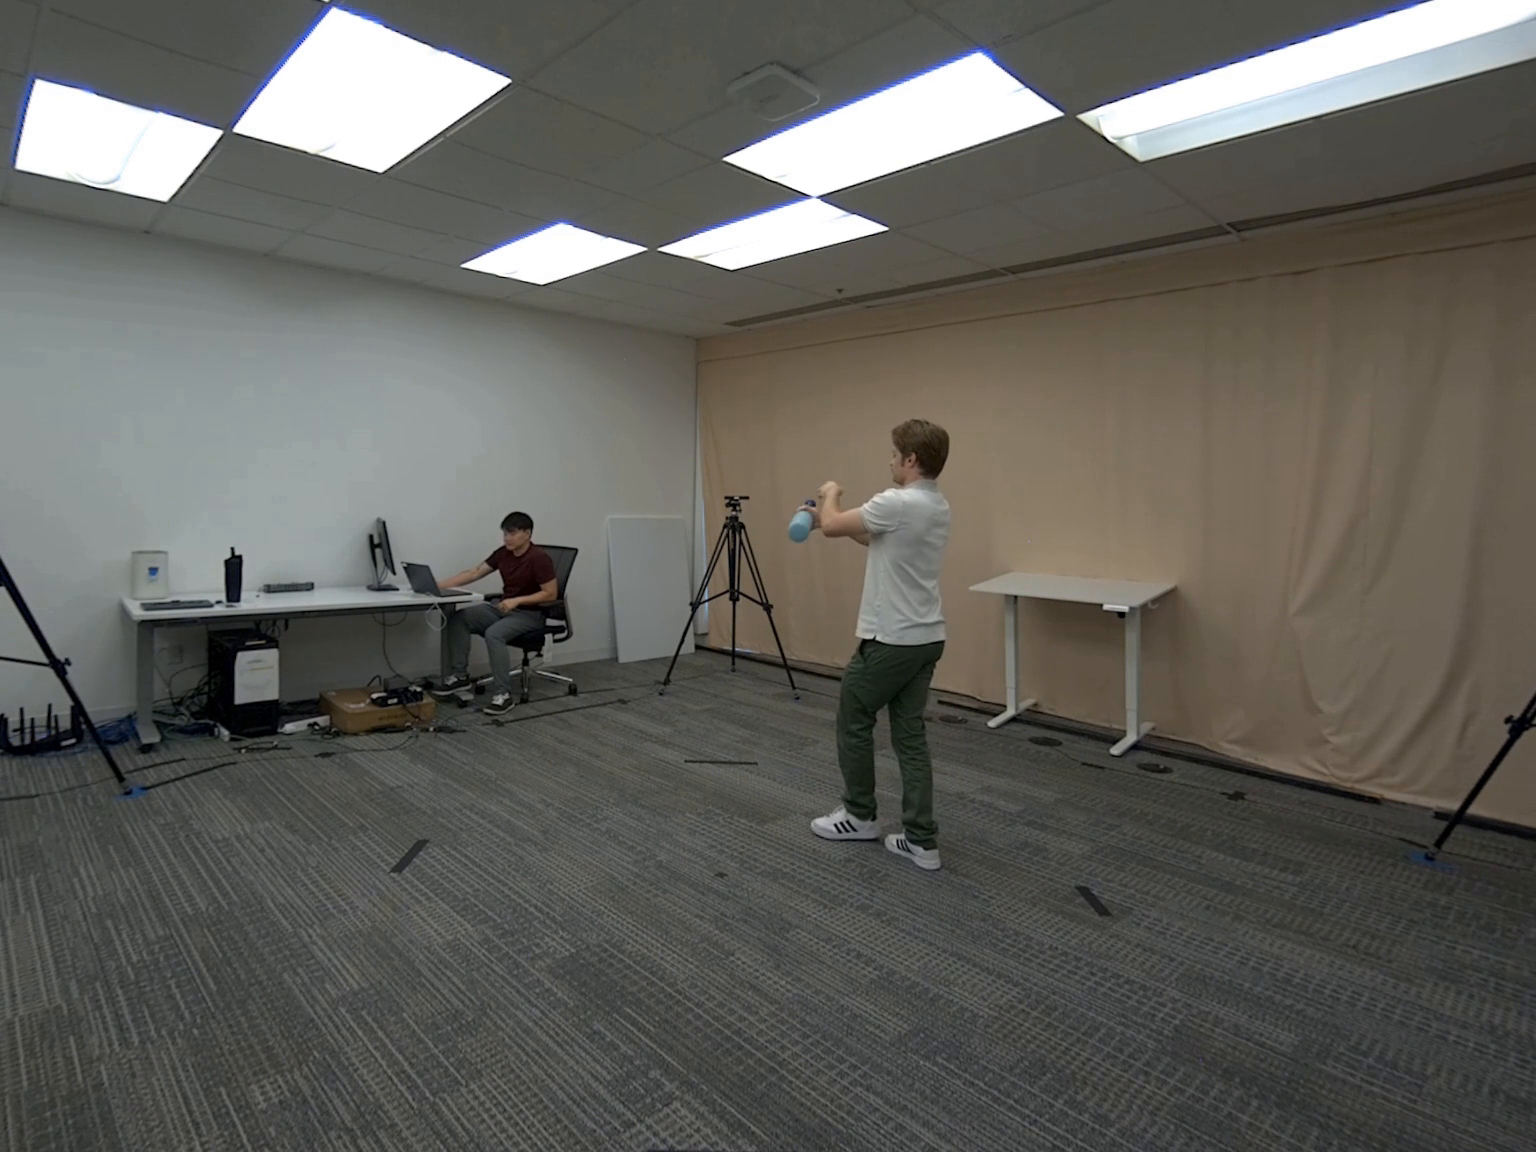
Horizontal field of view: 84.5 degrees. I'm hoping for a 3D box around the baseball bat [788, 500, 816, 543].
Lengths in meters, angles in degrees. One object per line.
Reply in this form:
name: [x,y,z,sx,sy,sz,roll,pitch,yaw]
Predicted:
baseball bat: [0.157,-0.251,3.586,0.090,0.088,0.544,2,16,8]
